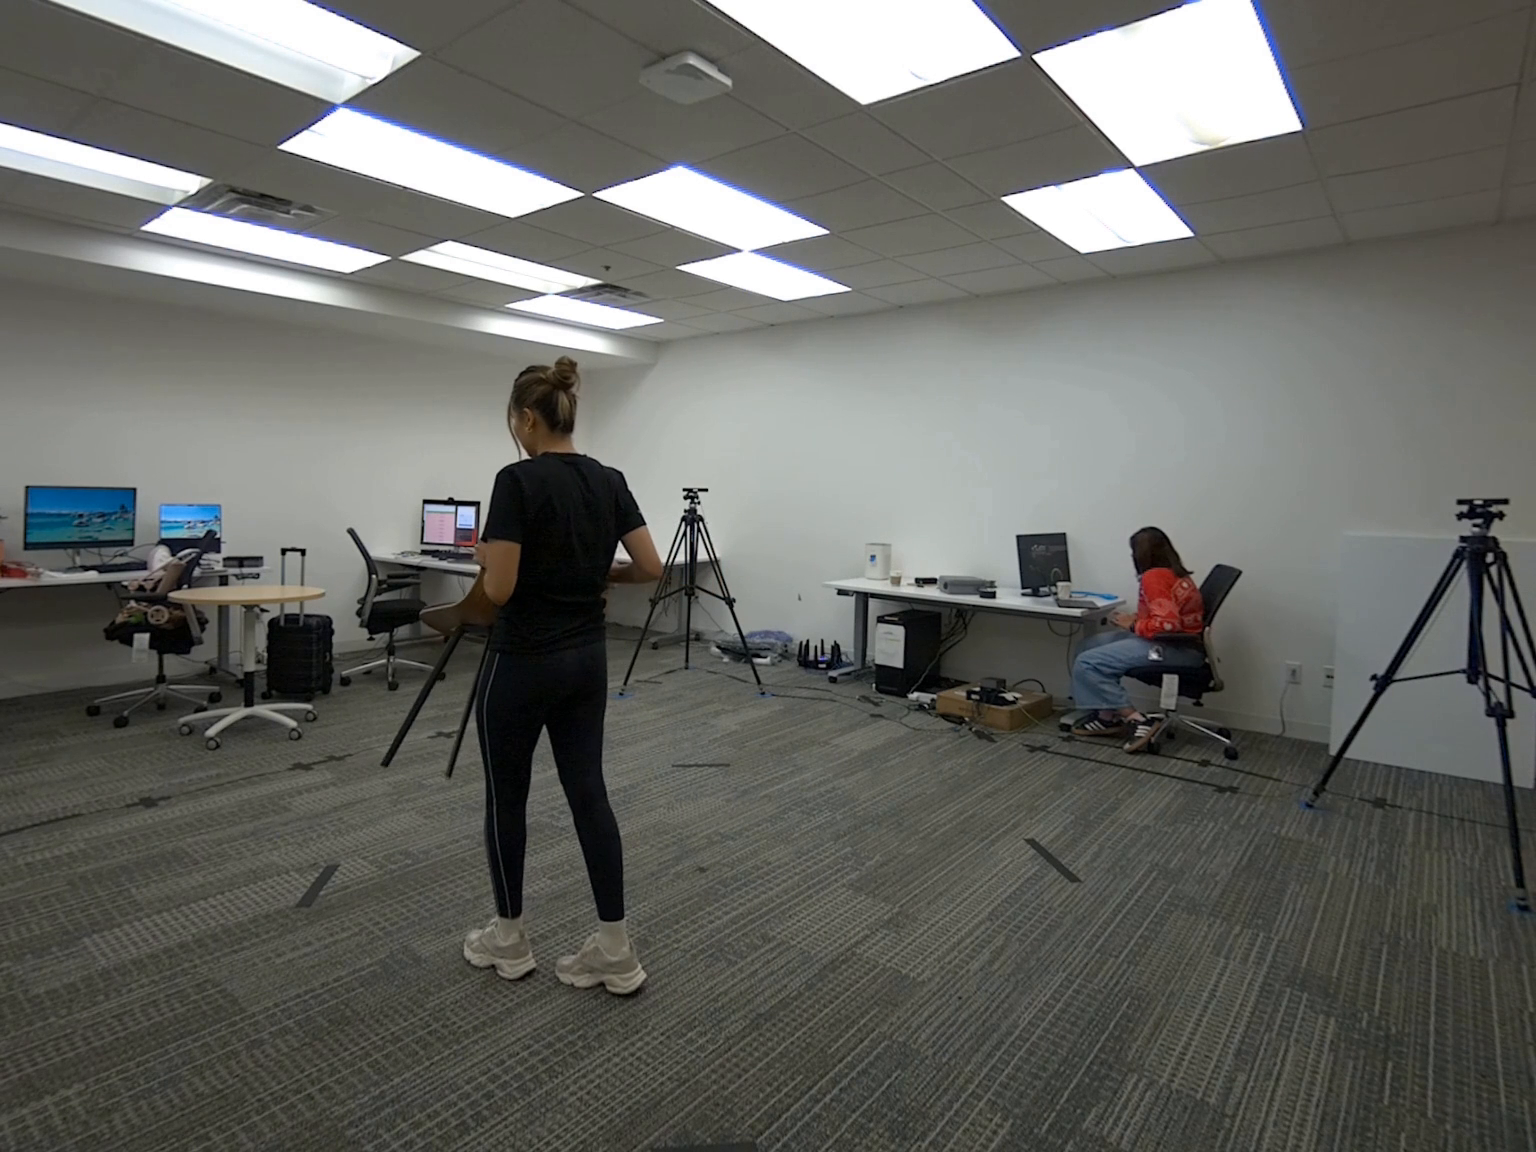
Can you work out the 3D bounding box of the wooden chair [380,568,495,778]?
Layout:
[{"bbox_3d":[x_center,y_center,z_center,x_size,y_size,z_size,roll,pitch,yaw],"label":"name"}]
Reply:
[{"bbox_3d":[-0.825,0.198,2.657,0.460,0.886,0.538,19,-16,-41],"label":"wooden chair"}]
